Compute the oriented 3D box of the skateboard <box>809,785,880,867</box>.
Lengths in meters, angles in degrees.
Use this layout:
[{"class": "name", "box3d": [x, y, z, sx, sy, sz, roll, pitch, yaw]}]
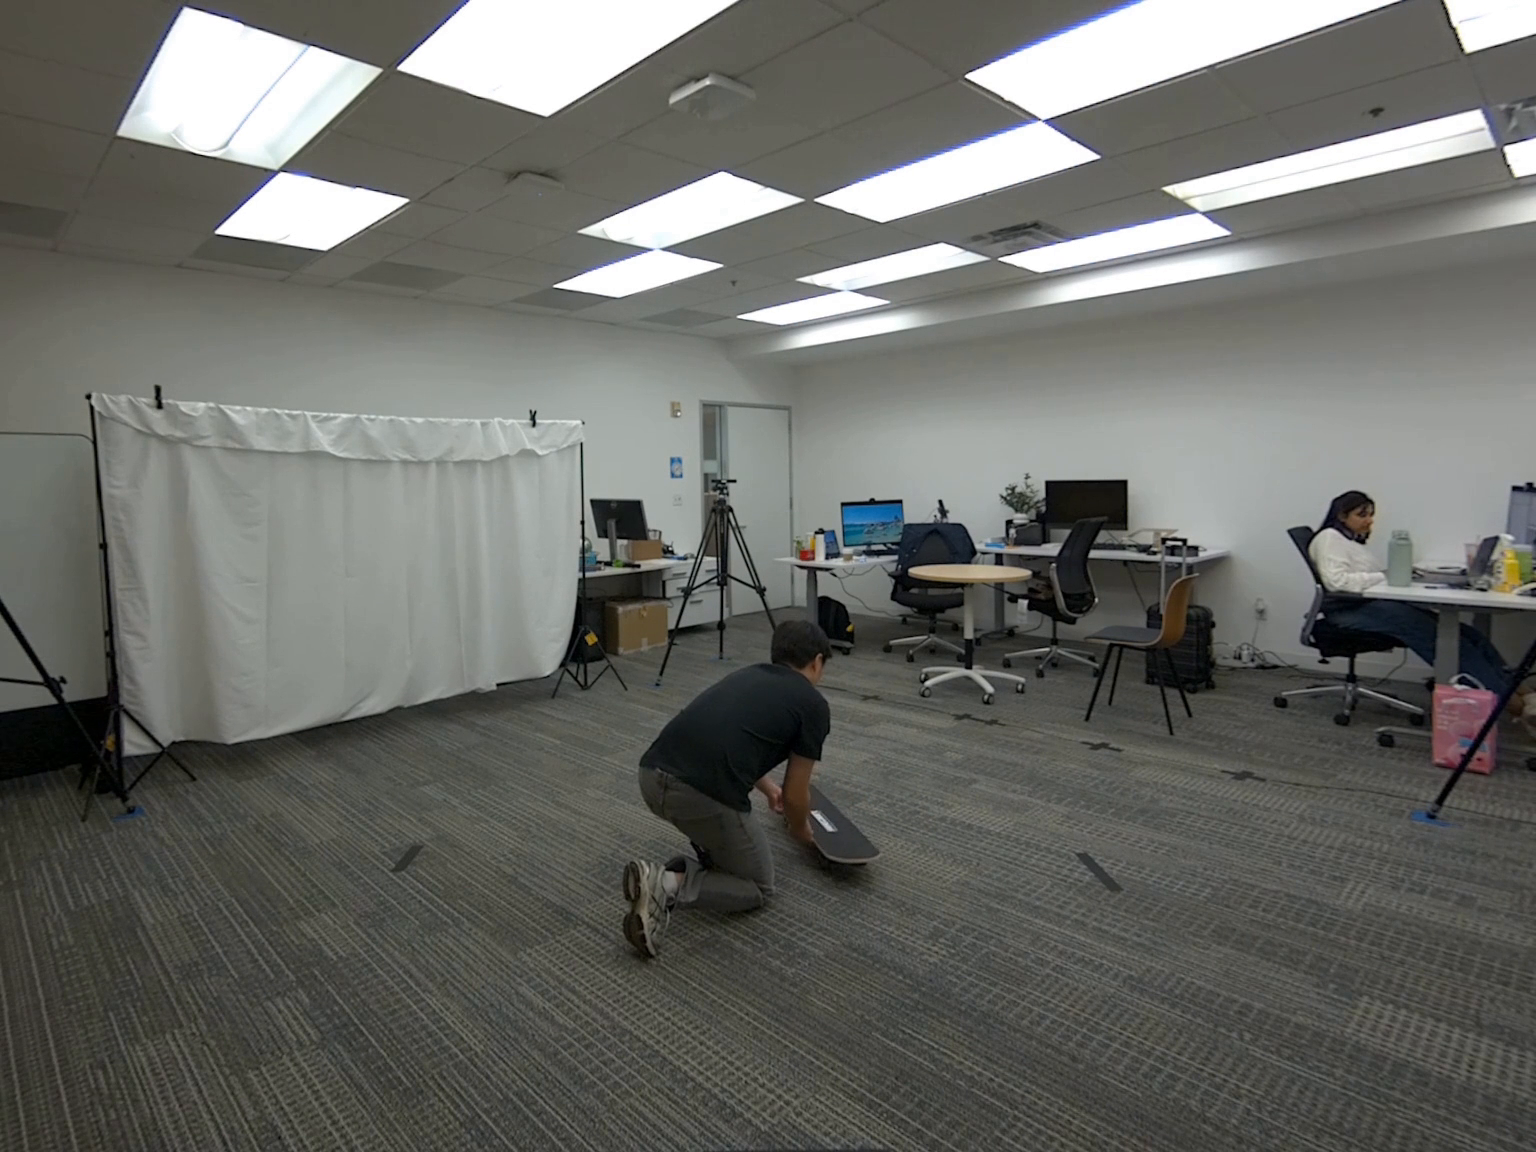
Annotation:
[{"class": "skateboard", "box3d": [0.210, 0.960, 3.265, 0.191, 0.110, 0.801, -2, 7, -17]}]
